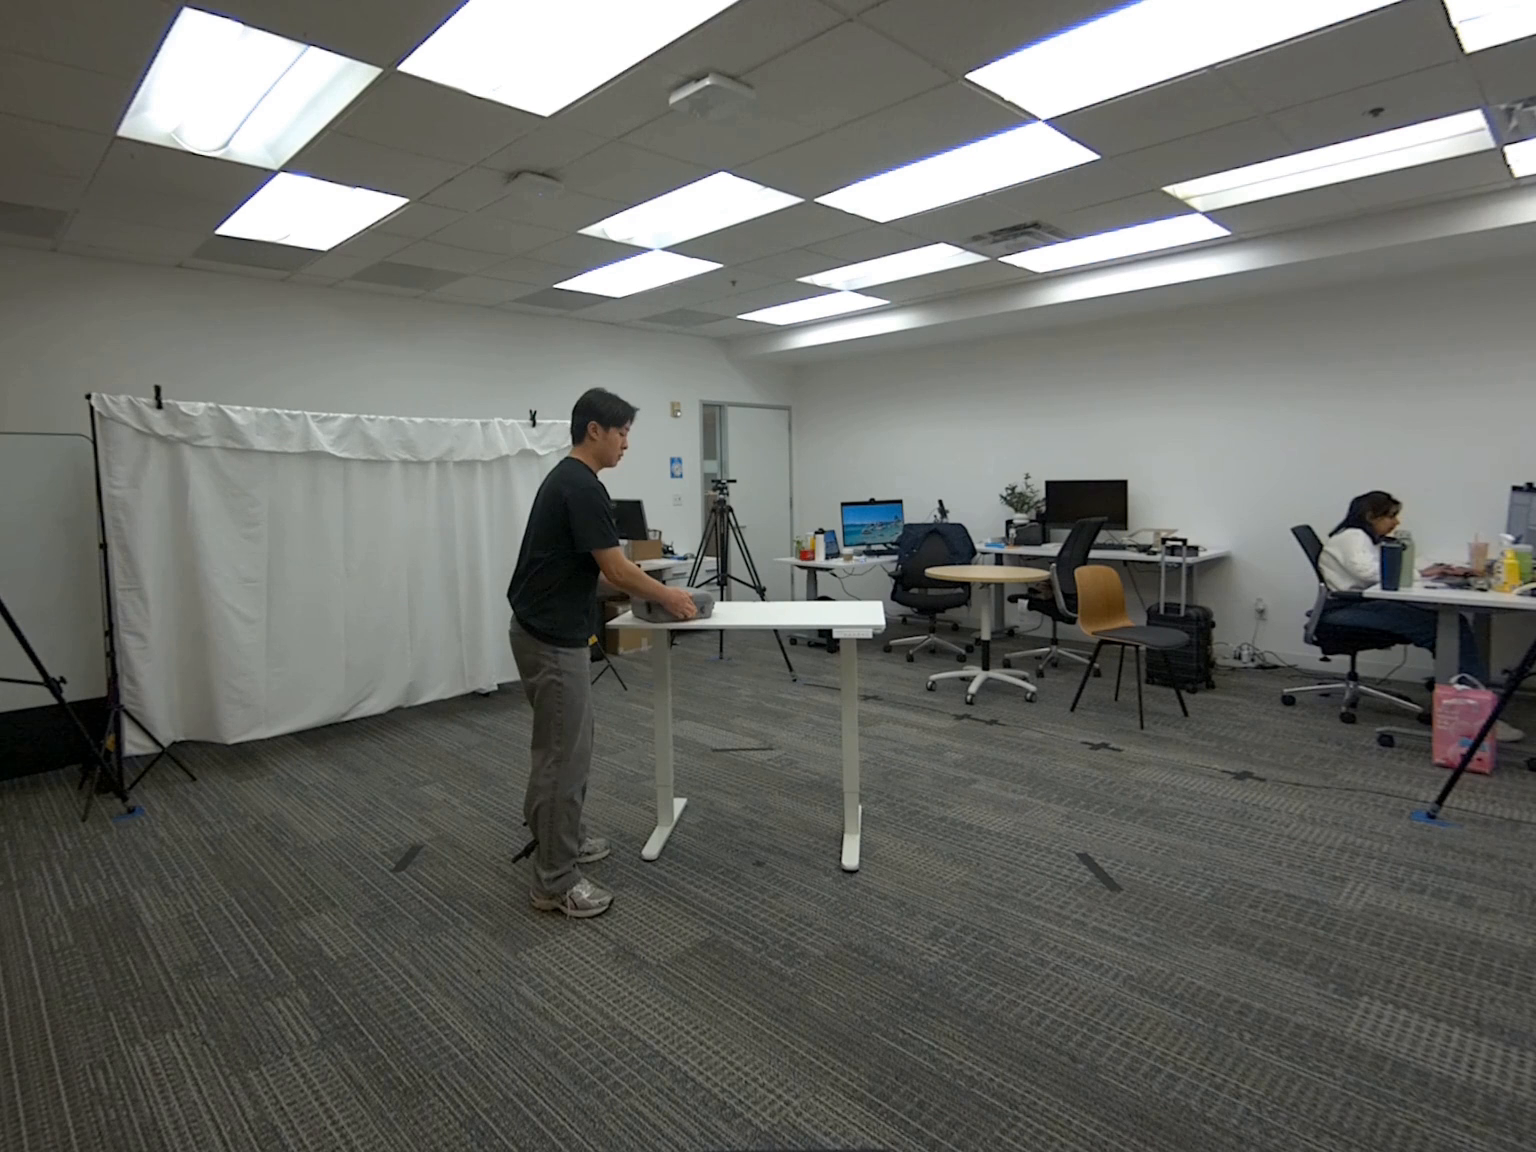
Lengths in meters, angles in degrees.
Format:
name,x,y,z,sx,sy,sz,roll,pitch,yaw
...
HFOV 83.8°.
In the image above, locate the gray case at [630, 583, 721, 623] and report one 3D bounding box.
name,x,y,z,sx,sy,sz,roll,pitch,yaw
gray case,-0.358,0.096,3.252,0.258,0.103,0.294,-2,5,-24
